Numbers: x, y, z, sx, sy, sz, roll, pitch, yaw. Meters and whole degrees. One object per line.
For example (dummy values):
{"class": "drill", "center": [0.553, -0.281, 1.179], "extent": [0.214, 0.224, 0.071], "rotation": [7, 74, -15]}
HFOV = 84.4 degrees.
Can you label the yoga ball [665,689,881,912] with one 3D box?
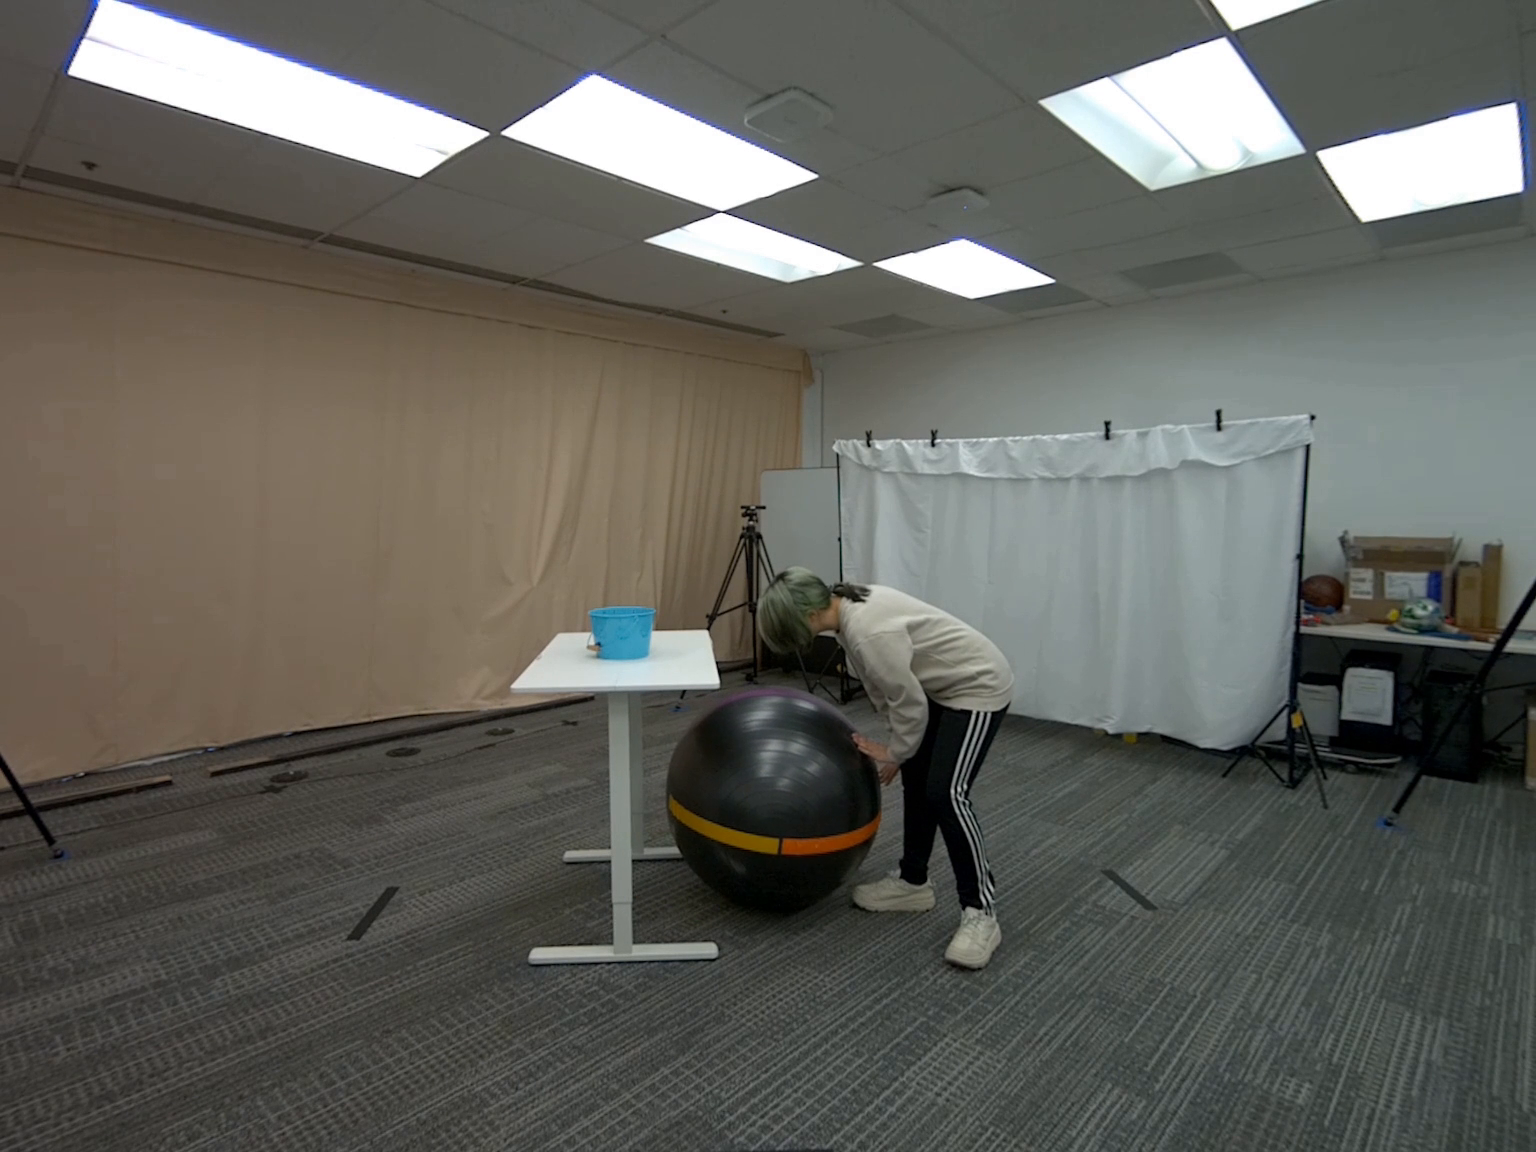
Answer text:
{"class": "yoga ball", "center": [0.016, 0.775, 2.984], "extent": [0.757, 0.756, 0.760], "rotation": [0, 4, -2]}
